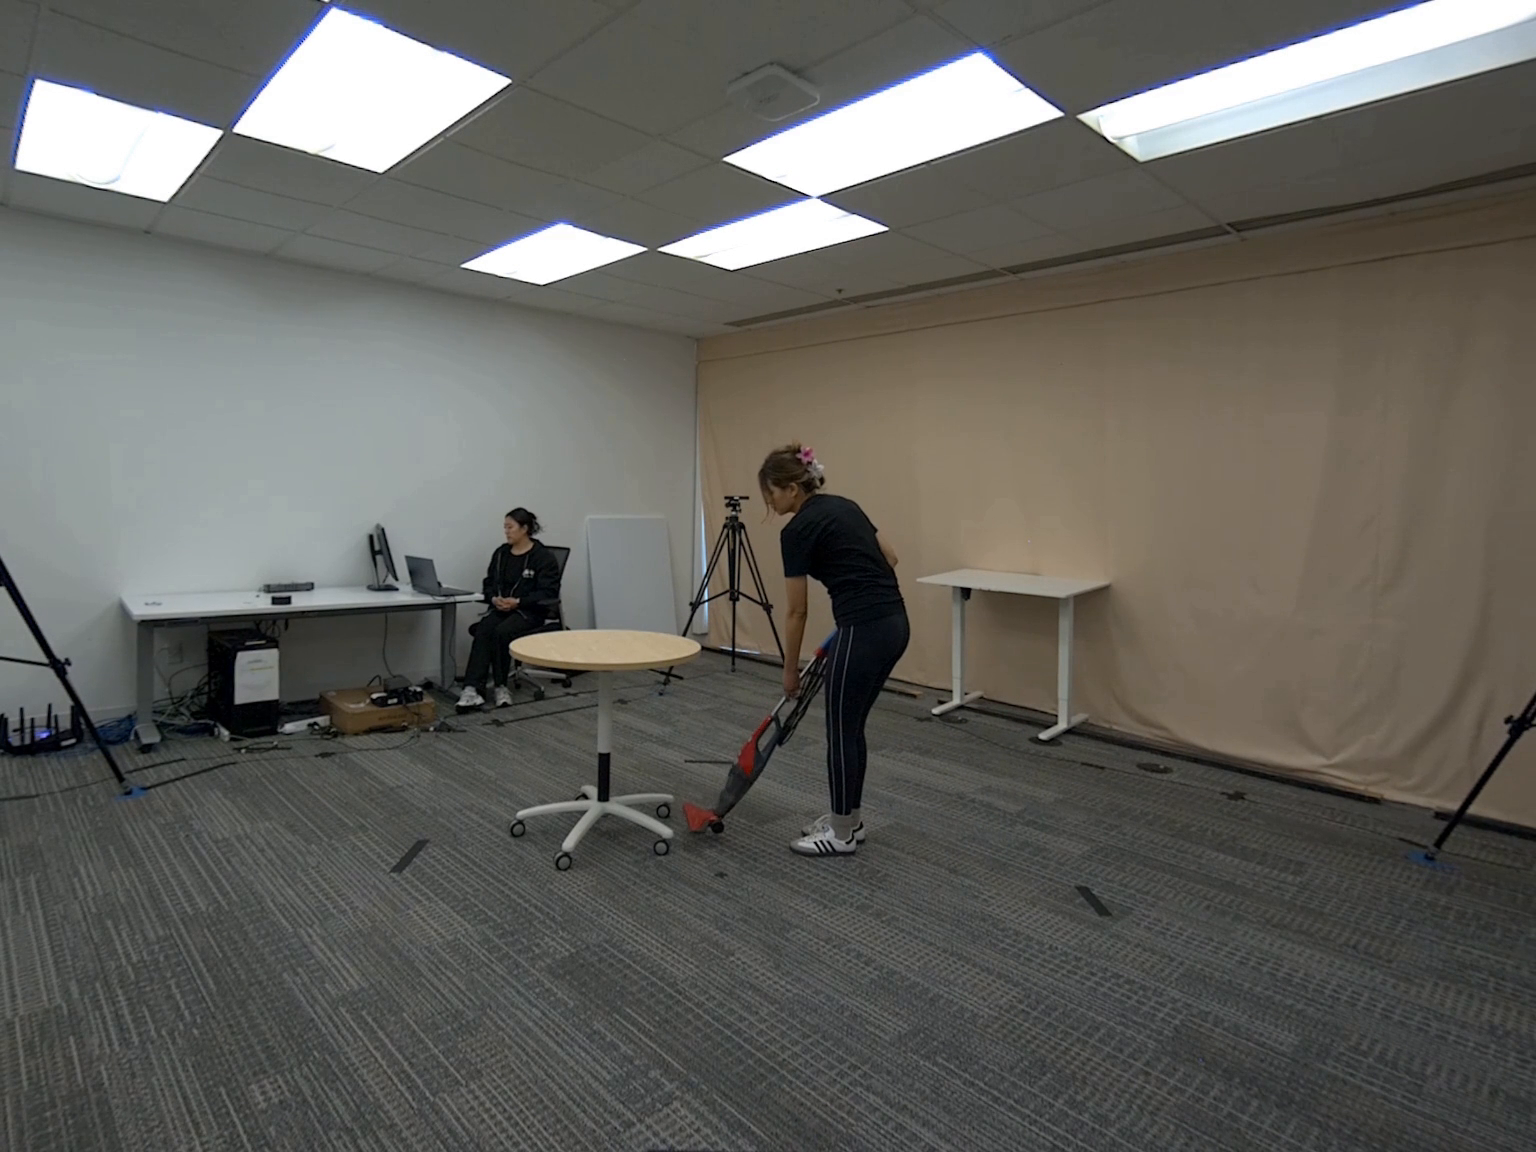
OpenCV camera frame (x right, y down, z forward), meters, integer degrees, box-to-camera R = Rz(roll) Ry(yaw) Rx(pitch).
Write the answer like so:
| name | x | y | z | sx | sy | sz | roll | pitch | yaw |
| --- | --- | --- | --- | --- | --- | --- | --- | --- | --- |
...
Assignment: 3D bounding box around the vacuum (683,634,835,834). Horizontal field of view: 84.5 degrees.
| name | x | y | z | sx | sy | sz | roll | pitch | yaw |
| --- | --- | --- | --- | --- | --- | --- | --- | --- | --- |
| vacuum | 0.049 | 0.588 | 3.426 | 0.141 | 1.049 | 0.257 | 39 | -3 | -17 |
